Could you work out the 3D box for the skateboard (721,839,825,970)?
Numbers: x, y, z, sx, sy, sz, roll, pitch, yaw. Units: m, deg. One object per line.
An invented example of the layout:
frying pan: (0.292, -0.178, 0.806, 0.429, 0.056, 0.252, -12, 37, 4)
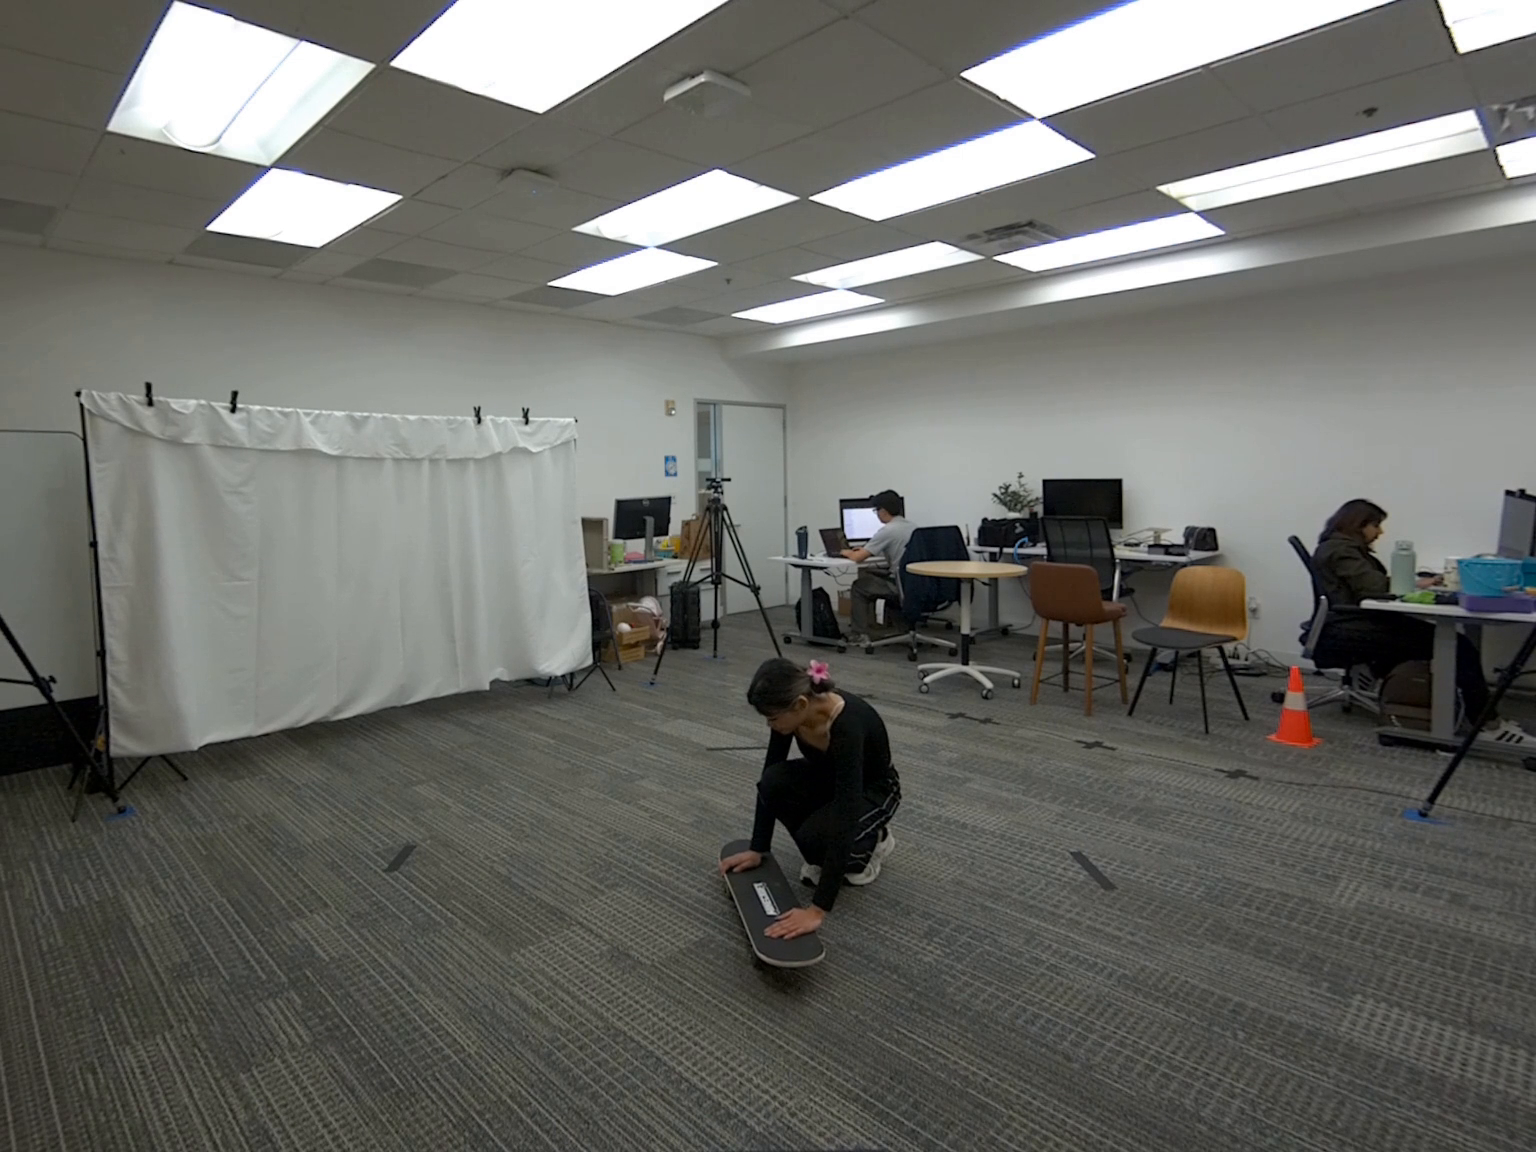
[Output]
skateboard: (-0.002, 1.036, 2.667, 0.191, 0.110, 0.798, -3, 6, -13)
